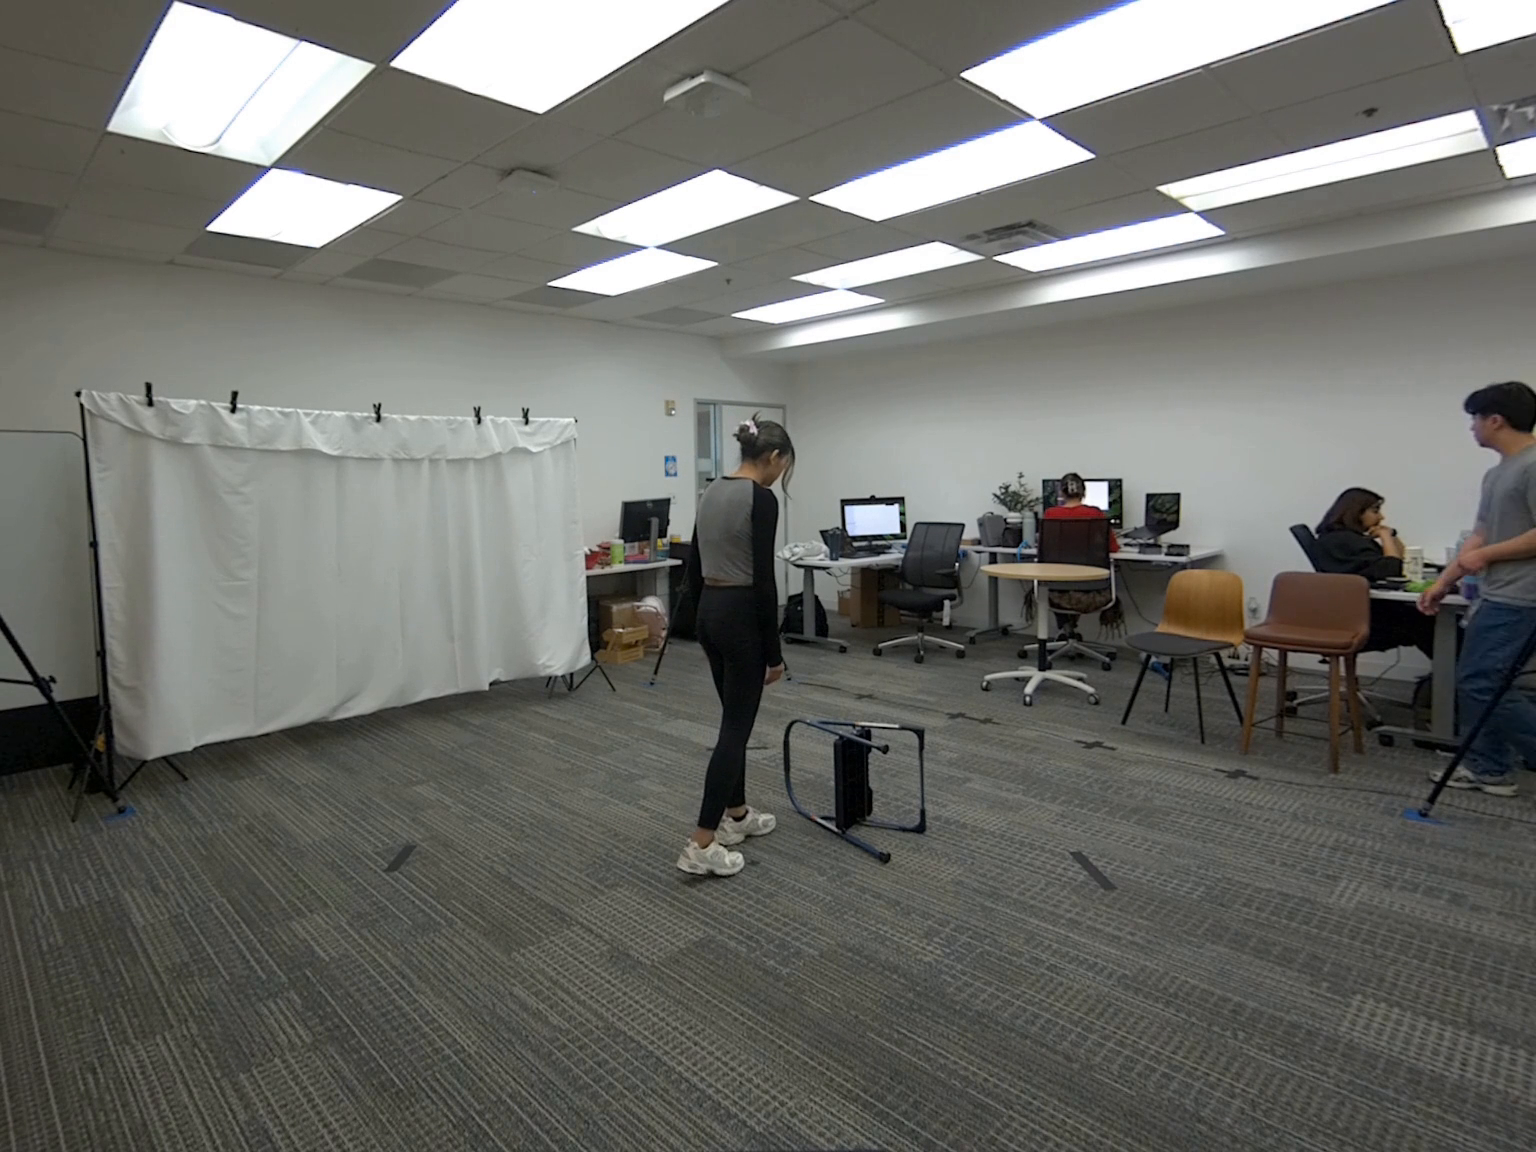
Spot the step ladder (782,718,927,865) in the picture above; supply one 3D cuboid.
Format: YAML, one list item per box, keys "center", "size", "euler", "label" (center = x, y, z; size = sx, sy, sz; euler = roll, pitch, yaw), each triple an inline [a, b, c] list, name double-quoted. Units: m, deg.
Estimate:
- center: [0.284, 0.797, 3.390]
  size: [0.624, 0.430, 0.340]
  euler: [2, 4, 38]
  label: "step ladder"
